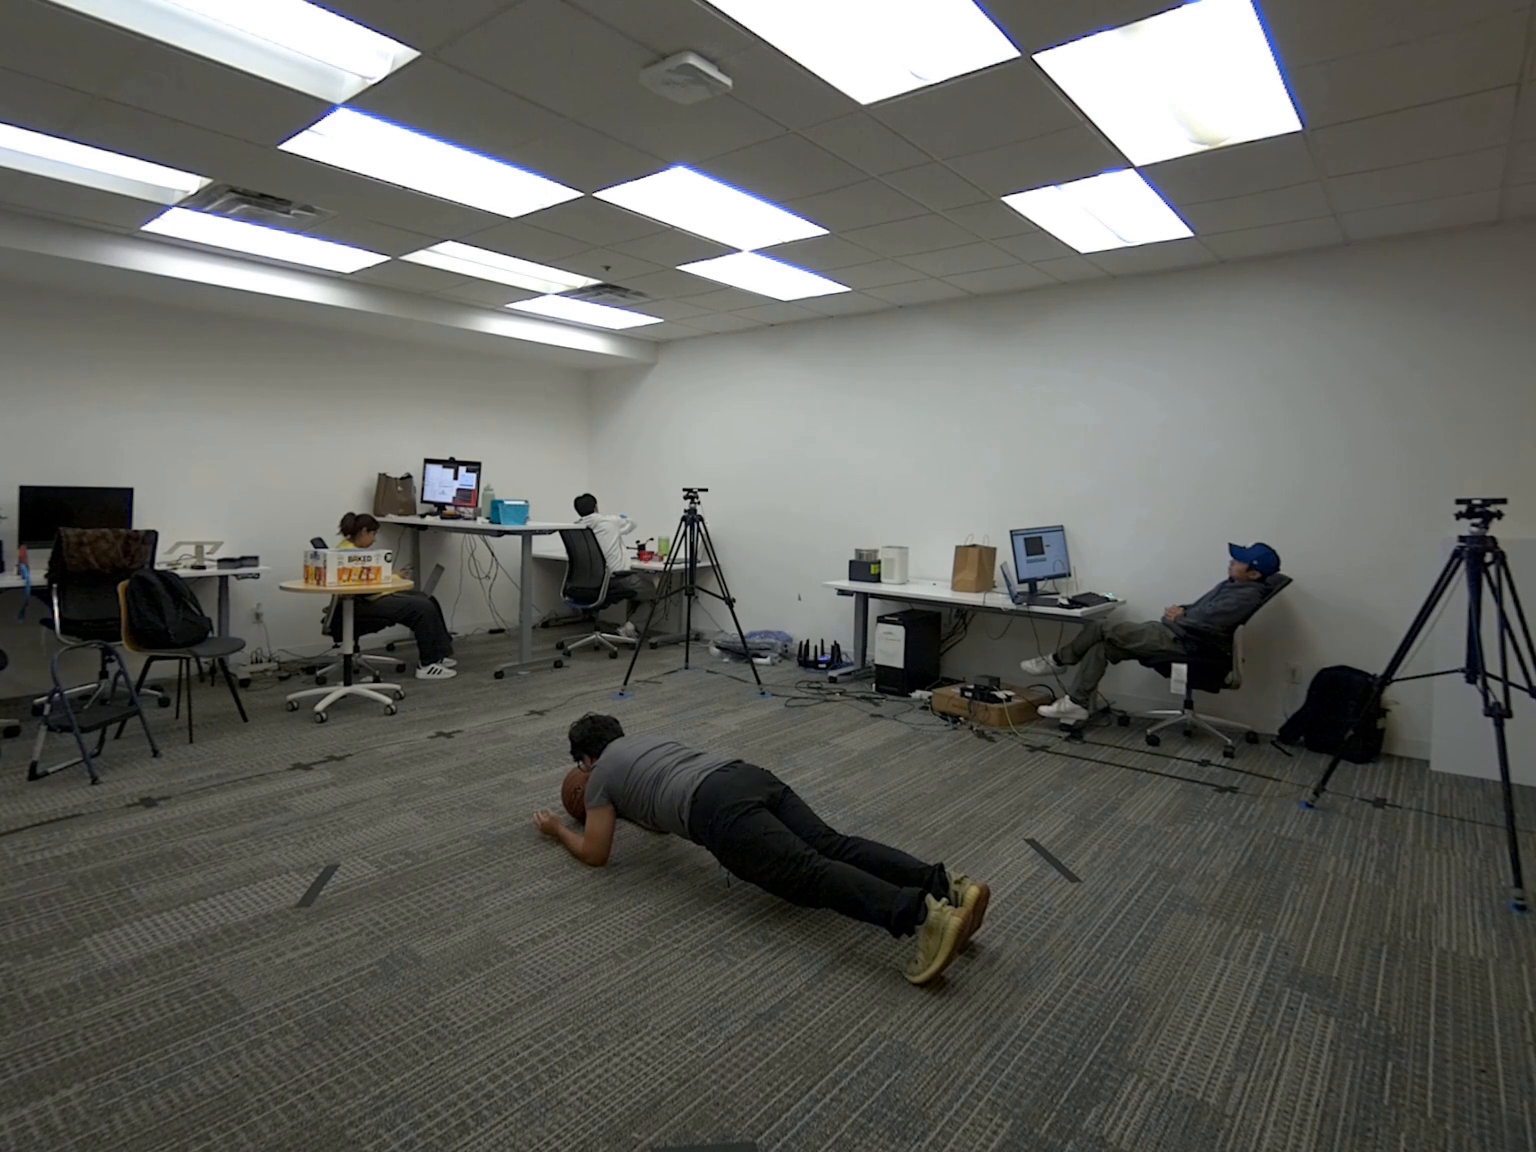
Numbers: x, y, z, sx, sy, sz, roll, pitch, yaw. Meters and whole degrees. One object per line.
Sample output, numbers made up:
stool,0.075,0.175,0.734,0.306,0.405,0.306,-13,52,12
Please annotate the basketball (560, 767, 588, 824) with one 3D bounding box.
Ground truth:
basketball,-0.753,0.898,3.543,0.235,0.235,0.237,1,4,-2
